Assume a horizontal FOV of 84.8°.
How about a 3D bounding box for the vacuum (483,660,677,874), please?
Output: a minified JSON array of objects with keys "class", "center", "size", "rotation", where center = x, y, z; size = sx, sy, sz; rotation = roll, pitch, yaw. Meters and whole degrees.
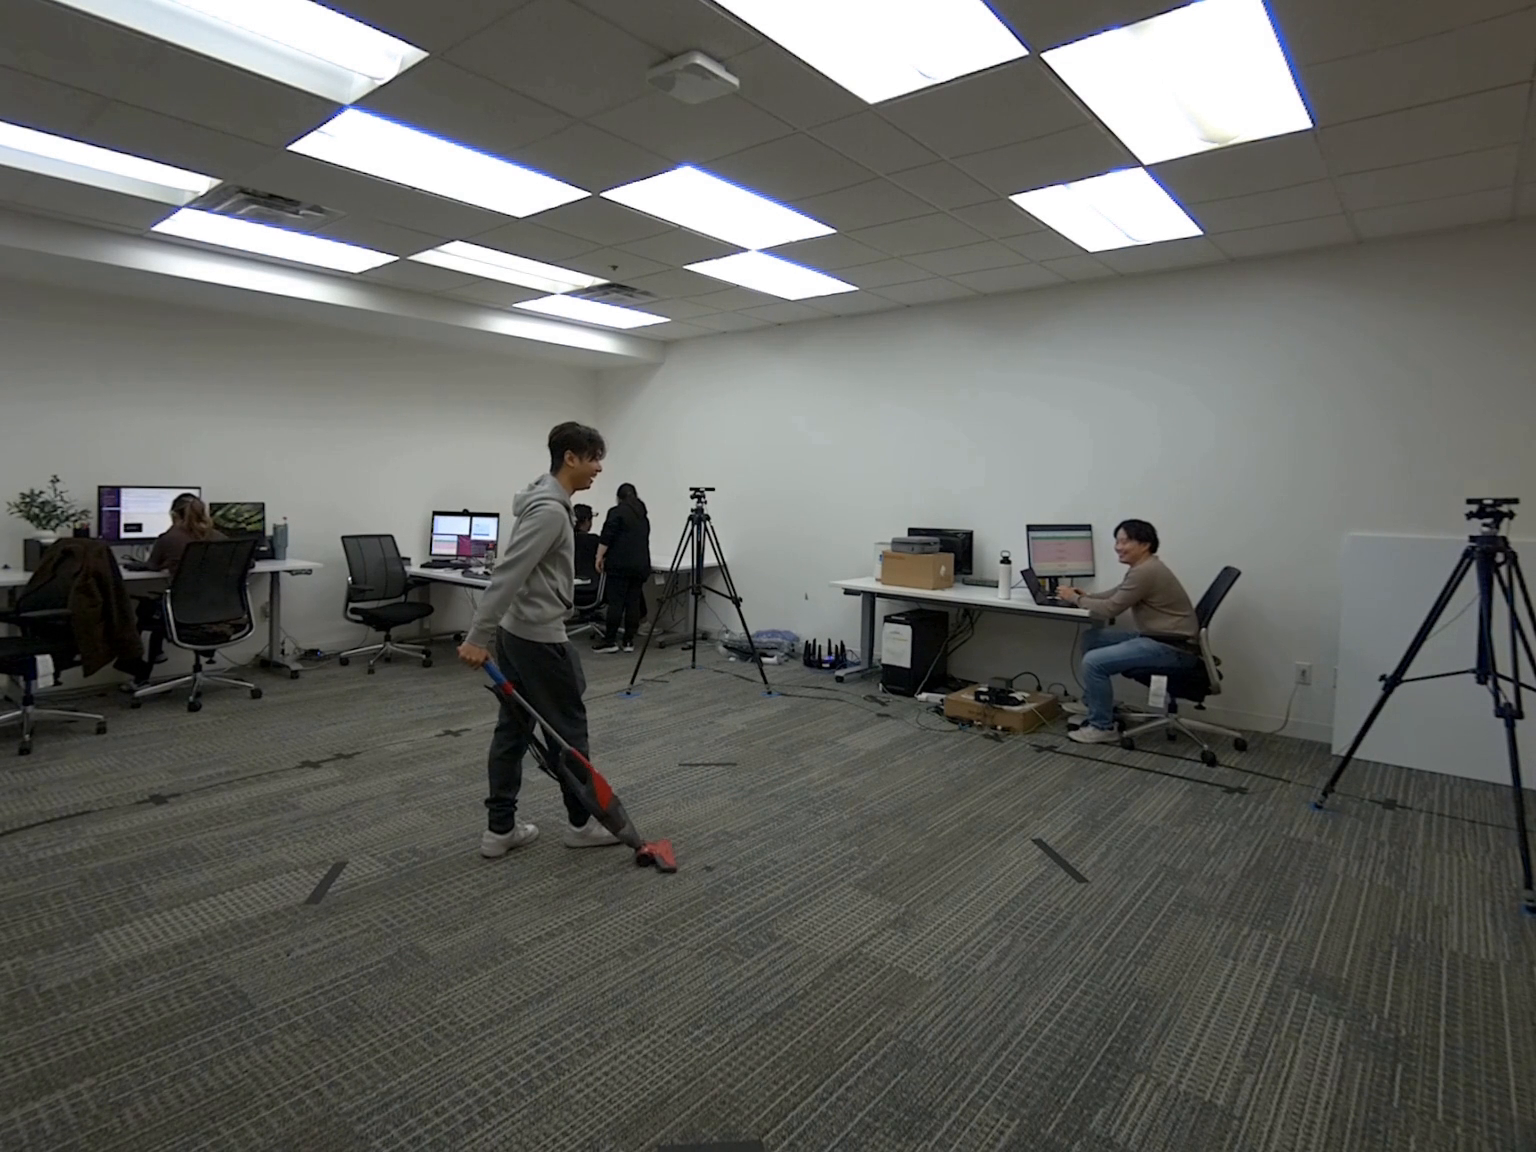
[{"class":"vacuum","center":[-0.753,0.664,3.096],"size":[0.144,1.034,0.256],"rotation":[-42,10,2]}]
